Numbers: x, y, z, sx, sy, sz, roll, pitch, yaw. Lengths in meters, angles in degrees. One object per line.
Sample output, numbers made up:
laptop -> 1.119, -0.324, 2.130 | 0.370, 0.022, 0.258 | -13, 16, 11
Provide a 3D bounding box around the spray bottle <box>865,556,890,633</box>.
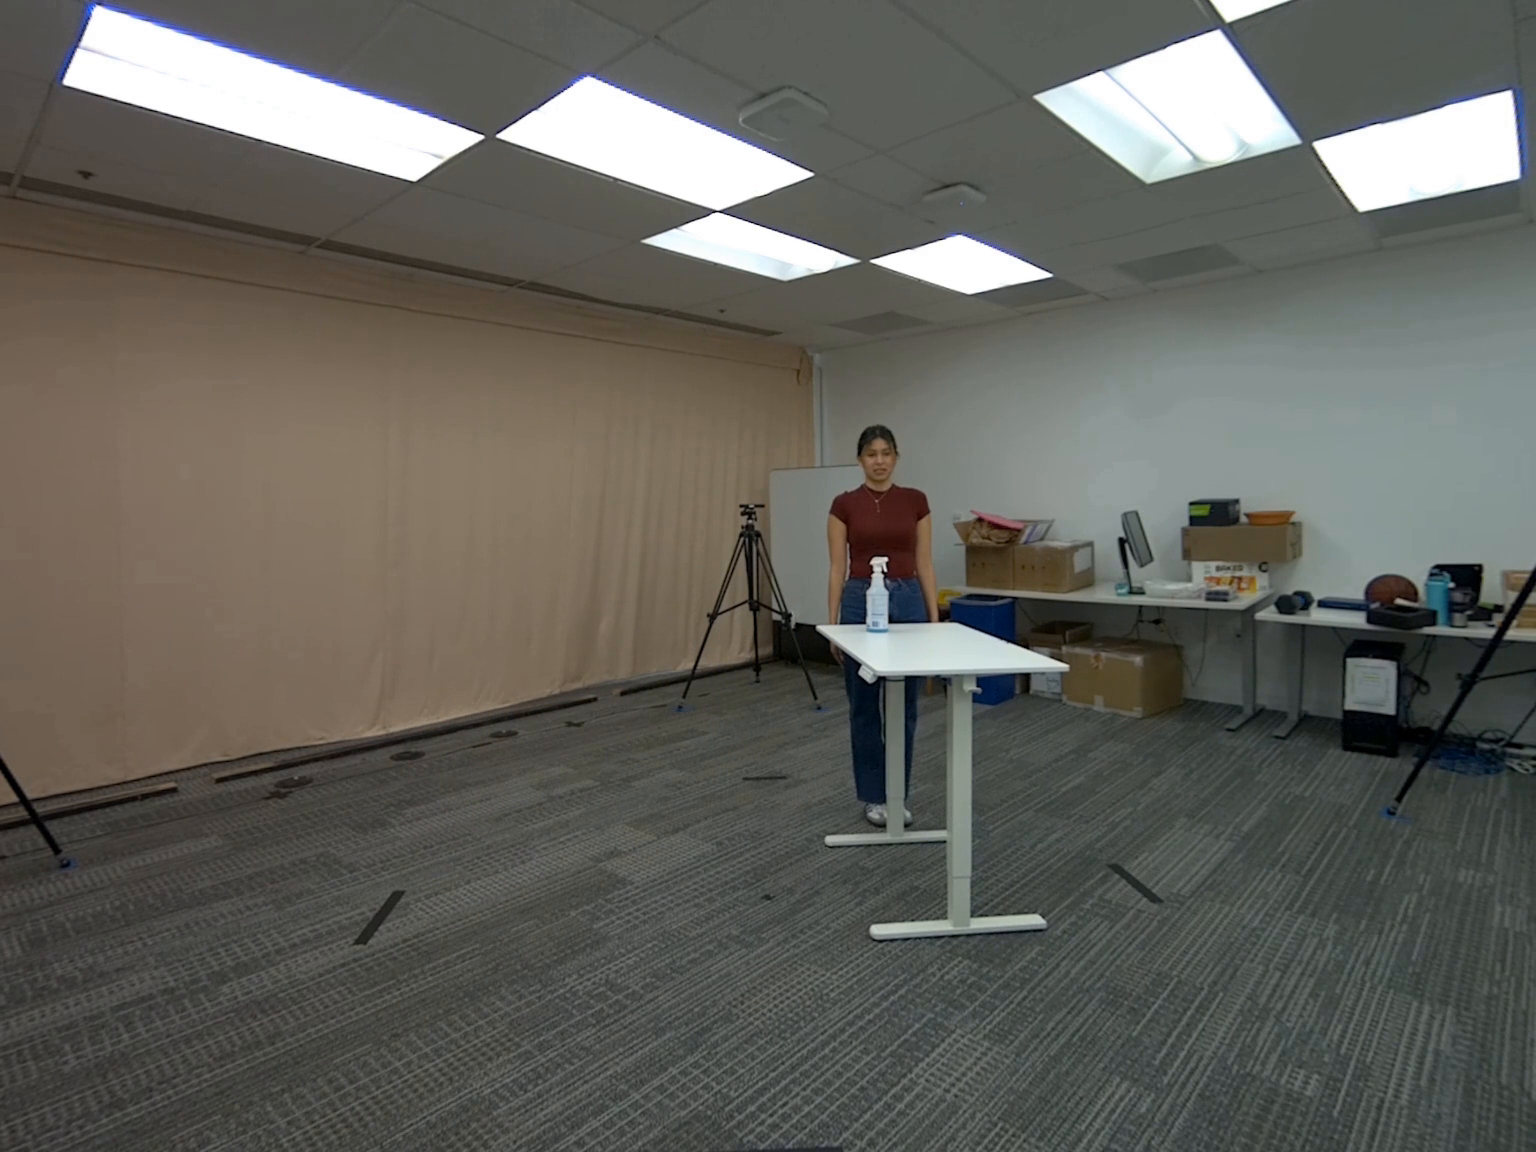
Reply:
spray bottle -> 0.430, 0.074, 3.332 | 0.086, 0.296, 0.091 | 0, 5, -6
